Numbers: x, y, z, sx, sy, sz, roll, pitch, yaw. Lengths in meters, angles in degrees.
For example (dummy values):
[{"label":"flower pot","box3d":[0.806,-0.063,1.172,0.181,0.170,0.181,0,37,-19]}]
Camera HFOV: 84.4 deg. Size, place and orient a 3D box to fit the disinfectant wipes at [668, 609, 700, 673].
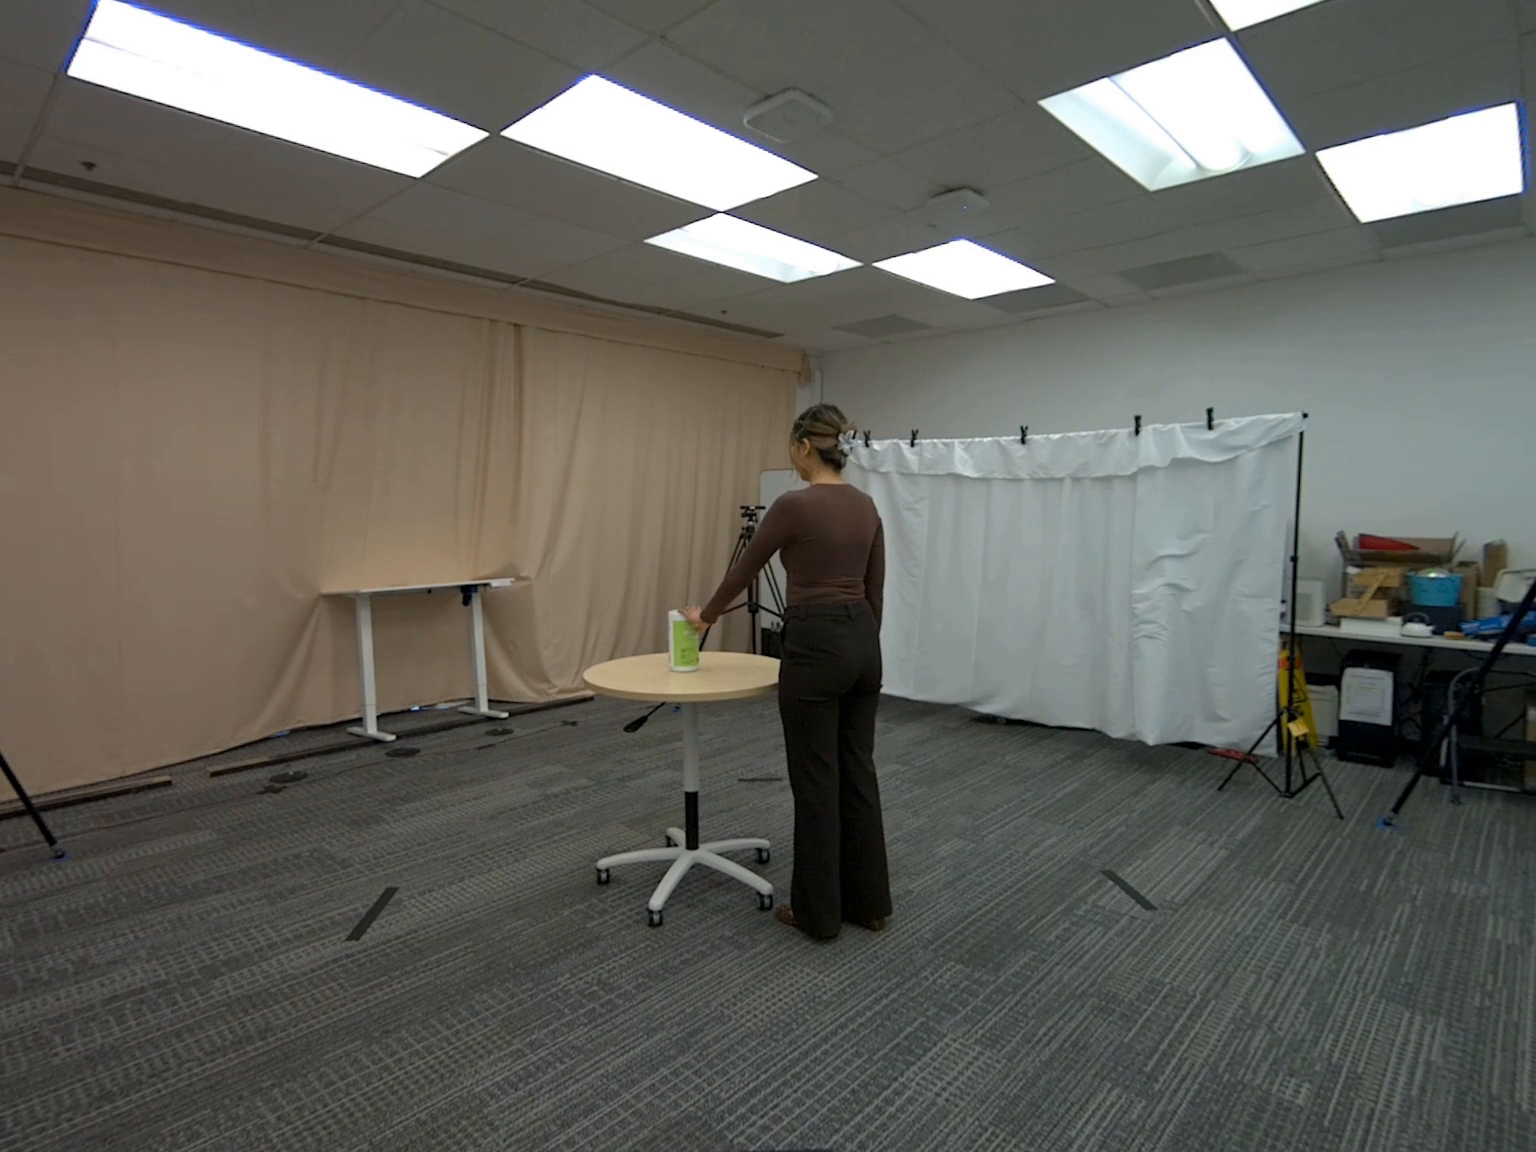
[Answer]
[{"label":"disinfectant wipes","box3d":[-0.309,0.237,3.064,0.118,0.217,0.118,1,5,-2]}]
